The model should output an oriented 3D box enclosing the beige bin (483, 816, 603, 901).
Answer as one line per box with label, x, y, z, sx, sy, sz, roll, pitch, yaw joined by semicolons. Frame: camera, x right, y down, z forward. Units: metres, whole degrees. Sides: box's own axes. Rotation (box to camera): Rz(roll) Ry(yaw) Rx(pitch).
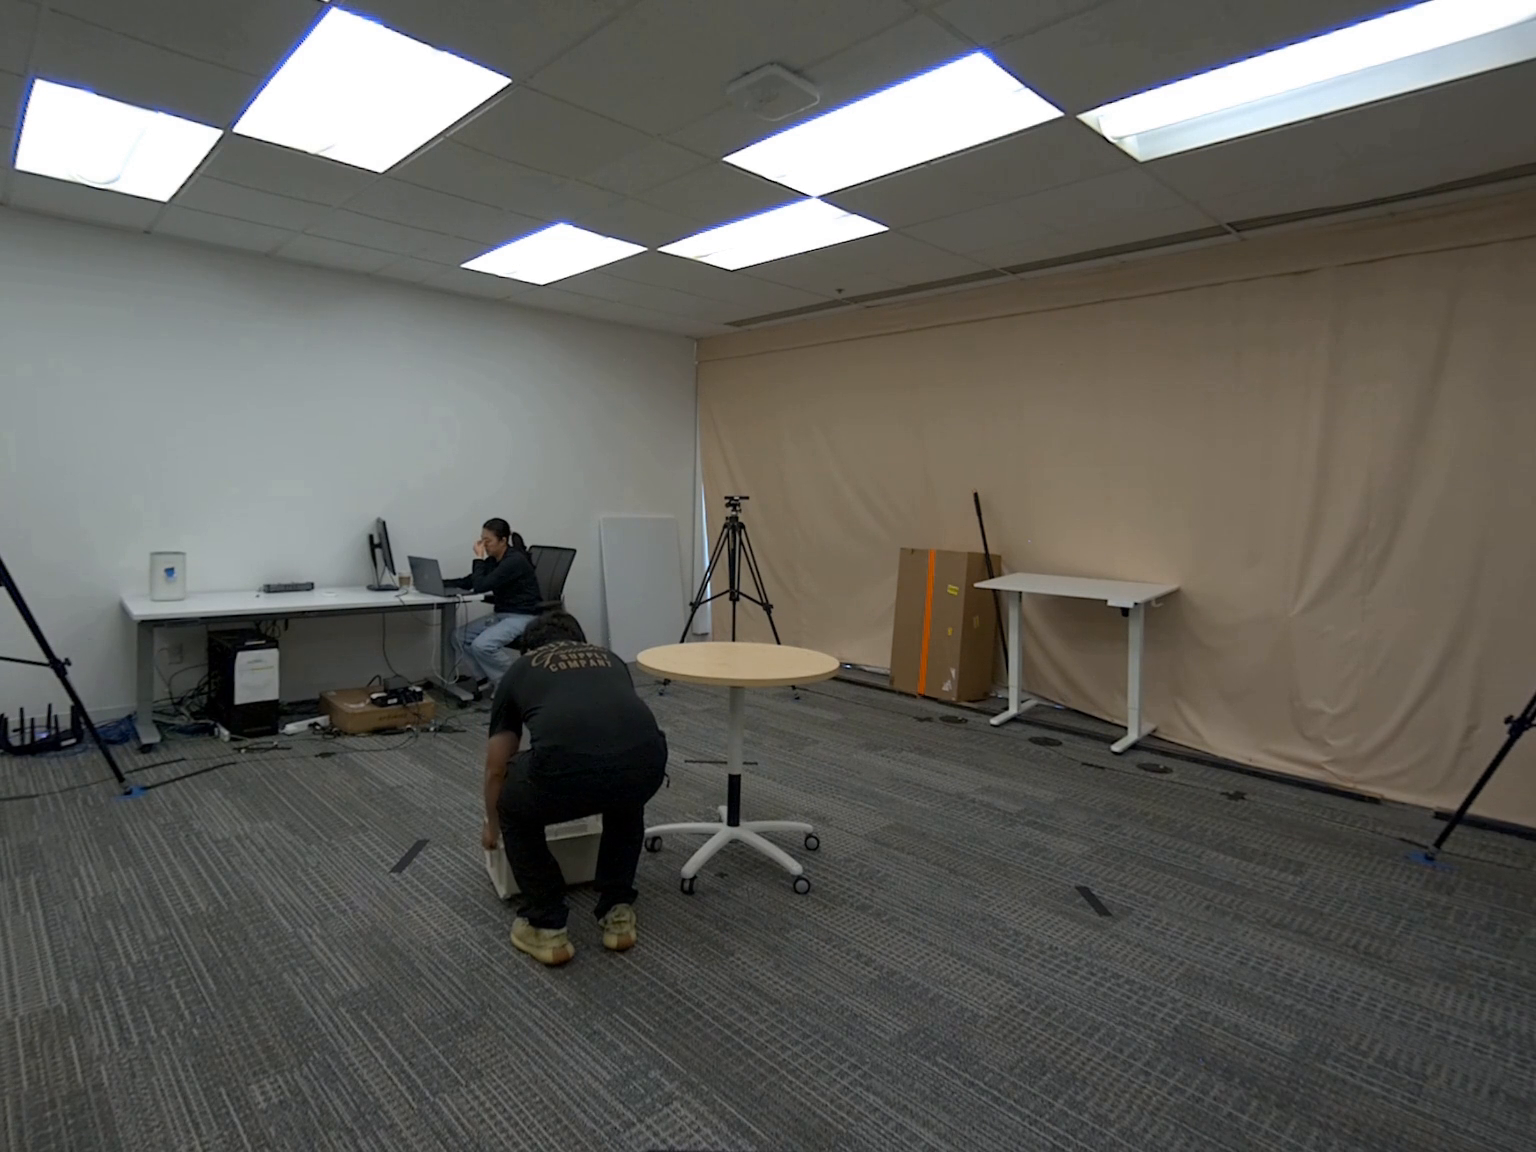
beige bin;-0.790;0.982;3.040;0.414;0.189;0.385;0;3;-29
